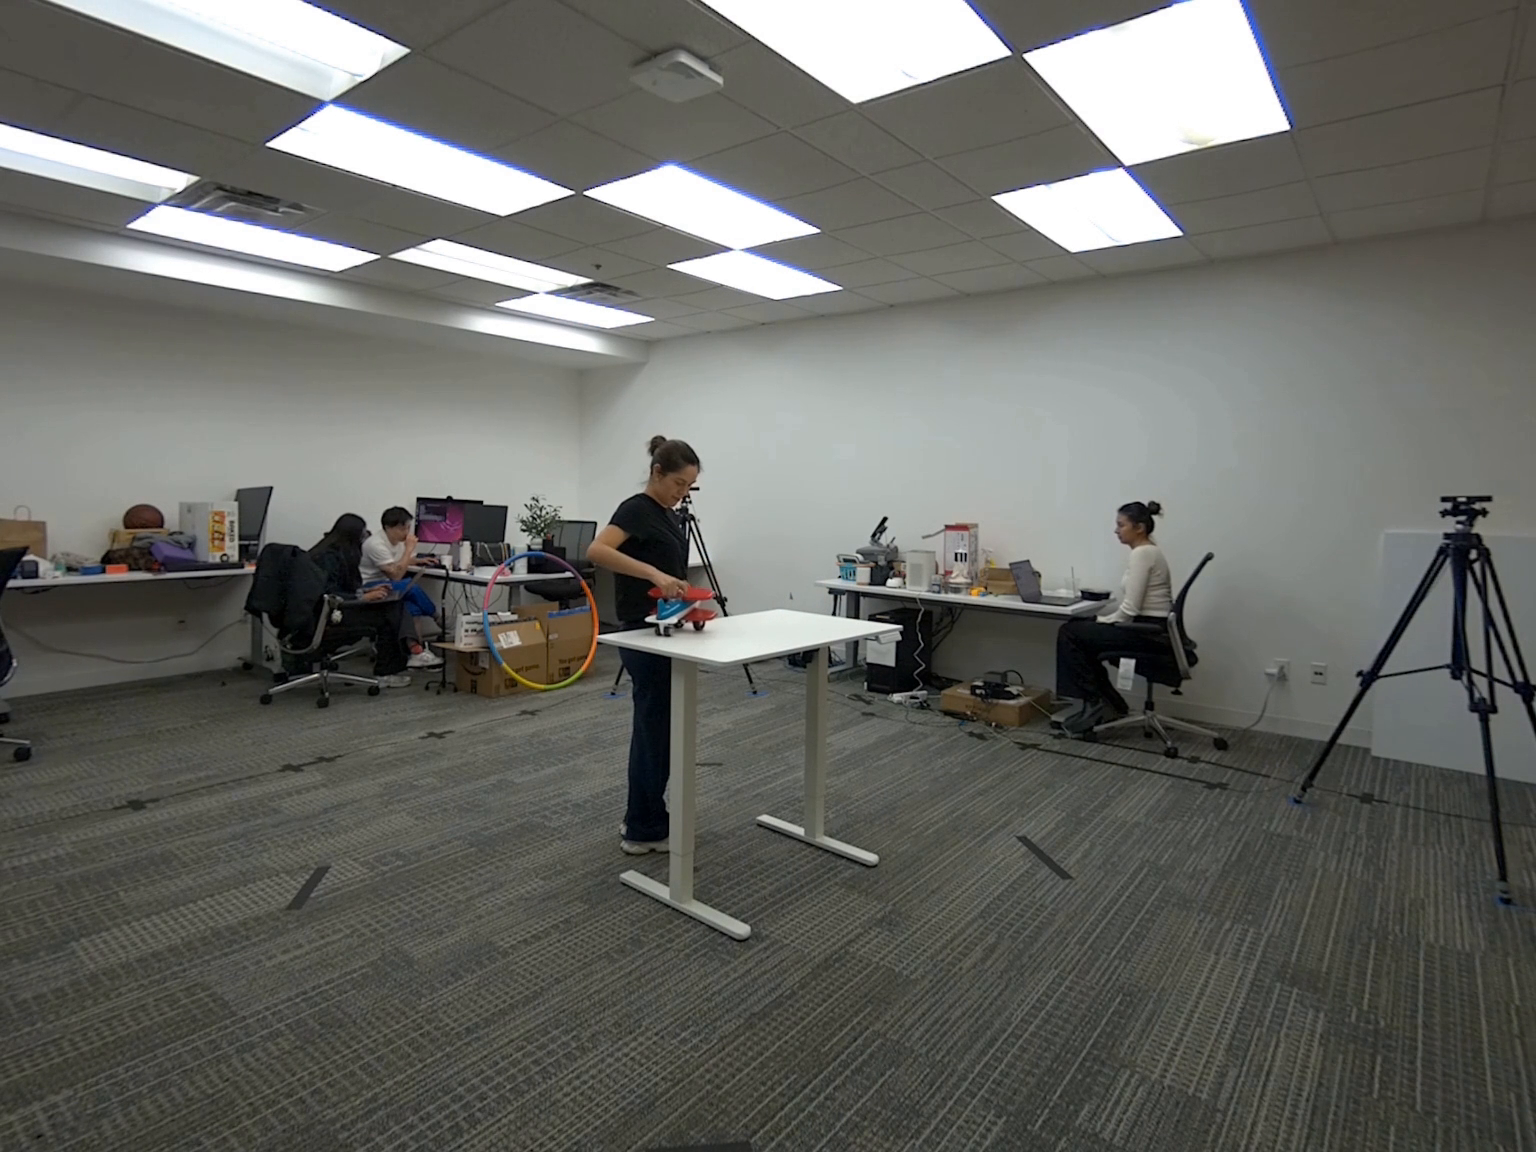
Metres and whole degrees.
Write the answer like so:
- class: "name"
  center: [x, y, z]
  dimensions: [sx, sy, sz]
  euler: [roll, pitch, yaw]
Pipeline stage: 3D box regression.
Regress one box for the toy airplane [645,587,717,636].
- class: "toy airplane"
  center: [-0.288, 0.117, 2.997]
  dimensions: [0.250, 0.156, 0.261]
  euler: [1, 4, -4]
